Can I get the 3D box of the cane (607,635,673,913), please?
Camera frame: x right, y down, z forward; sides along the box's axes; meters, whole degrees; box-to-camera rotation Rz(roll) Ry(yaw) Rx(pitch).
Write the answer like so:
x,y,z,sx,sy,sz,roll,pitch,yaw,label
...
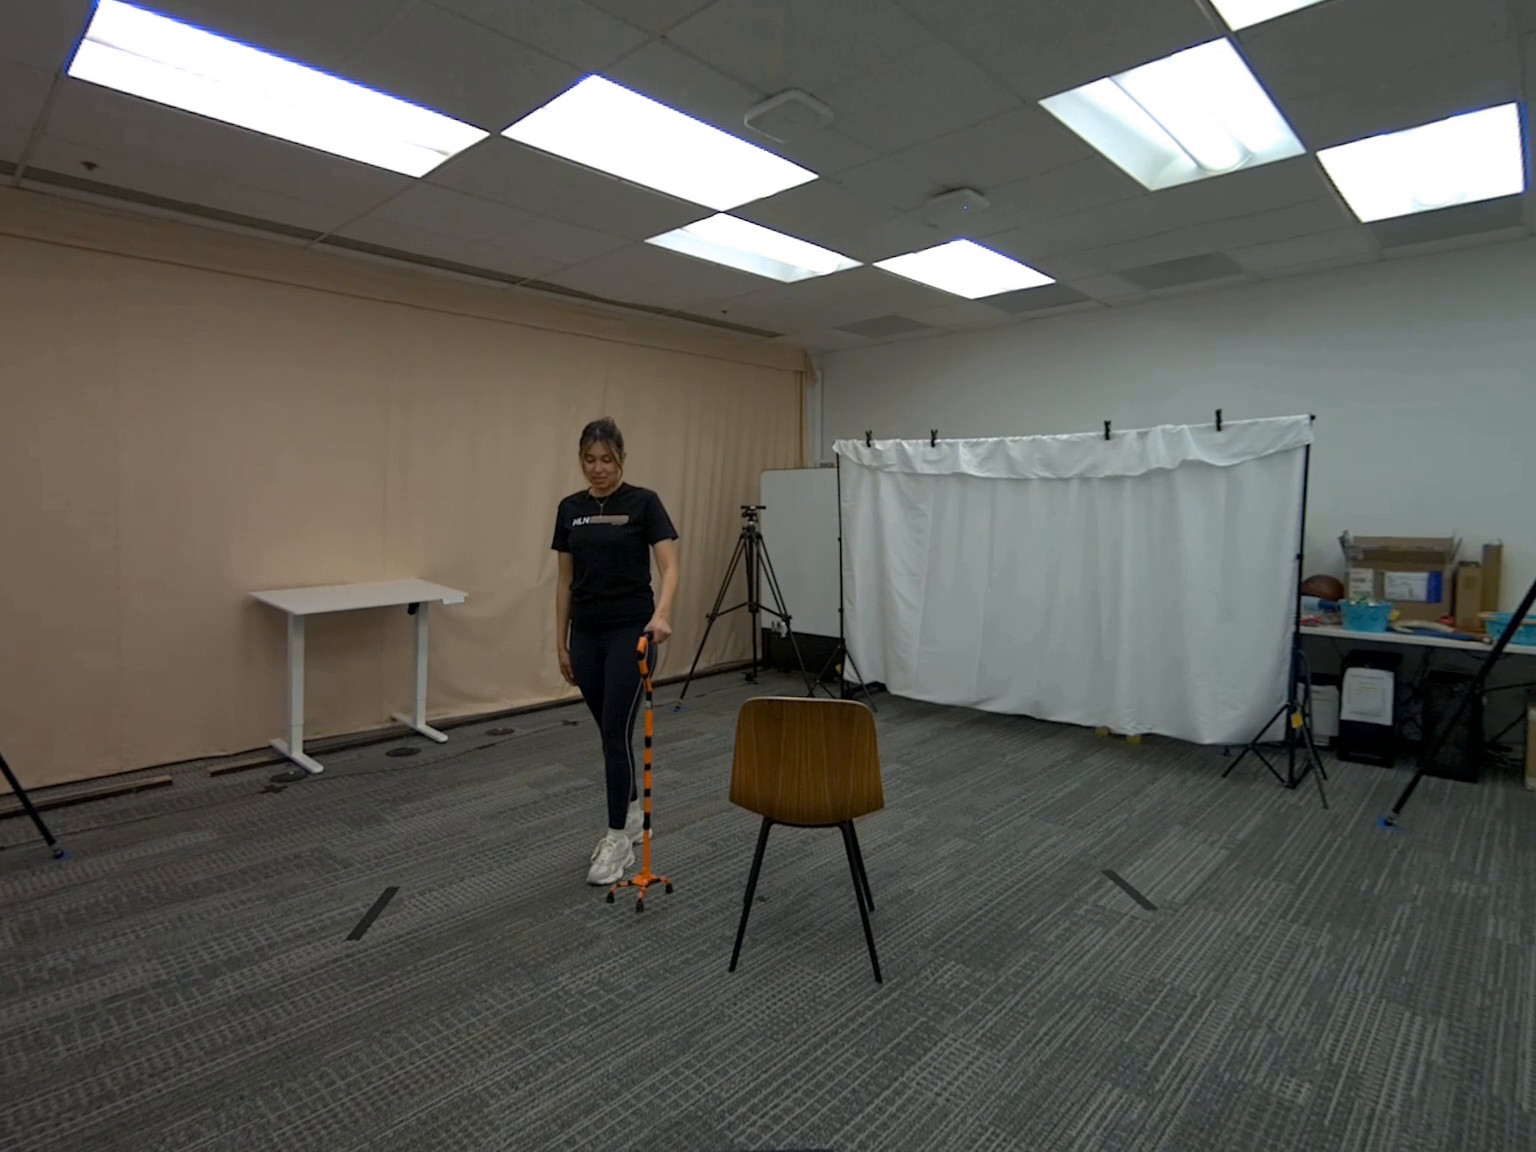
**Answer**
x,y,z,sx,sy,sz,roll,pitch,yaw,label
-0.427,0.650,2.887,0.156,0.908,0.200,1,0,31,cane
